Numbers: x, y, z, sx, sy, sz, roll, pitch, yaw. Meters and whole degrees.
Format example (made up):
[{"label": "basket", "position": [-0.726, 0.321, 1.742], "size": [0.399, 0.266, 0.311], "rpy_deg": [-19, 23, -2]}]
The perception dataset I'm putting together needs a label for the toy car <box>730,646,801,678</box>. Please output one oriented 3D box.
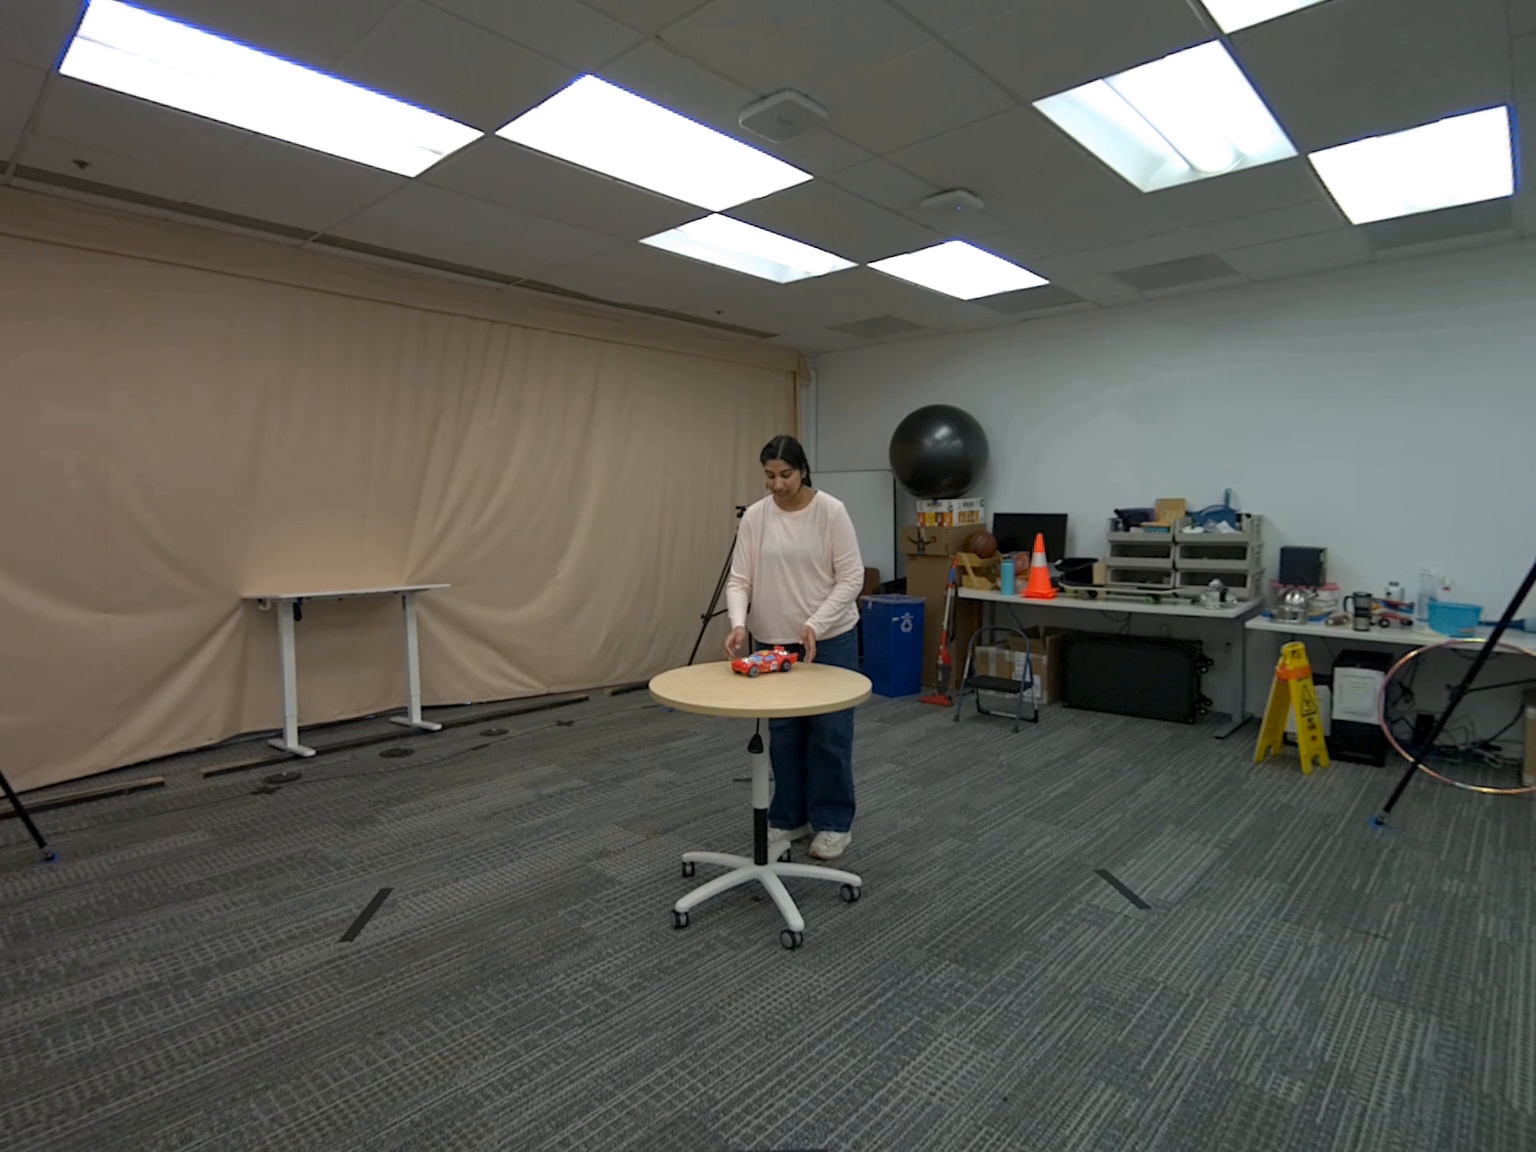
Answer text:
[{"label": "toy car", "position": [-0.007, 0.317, 3.084], "size": [0.249, 0.082, 0.134], "rpy_deg": [-17, 14, -33]}]
